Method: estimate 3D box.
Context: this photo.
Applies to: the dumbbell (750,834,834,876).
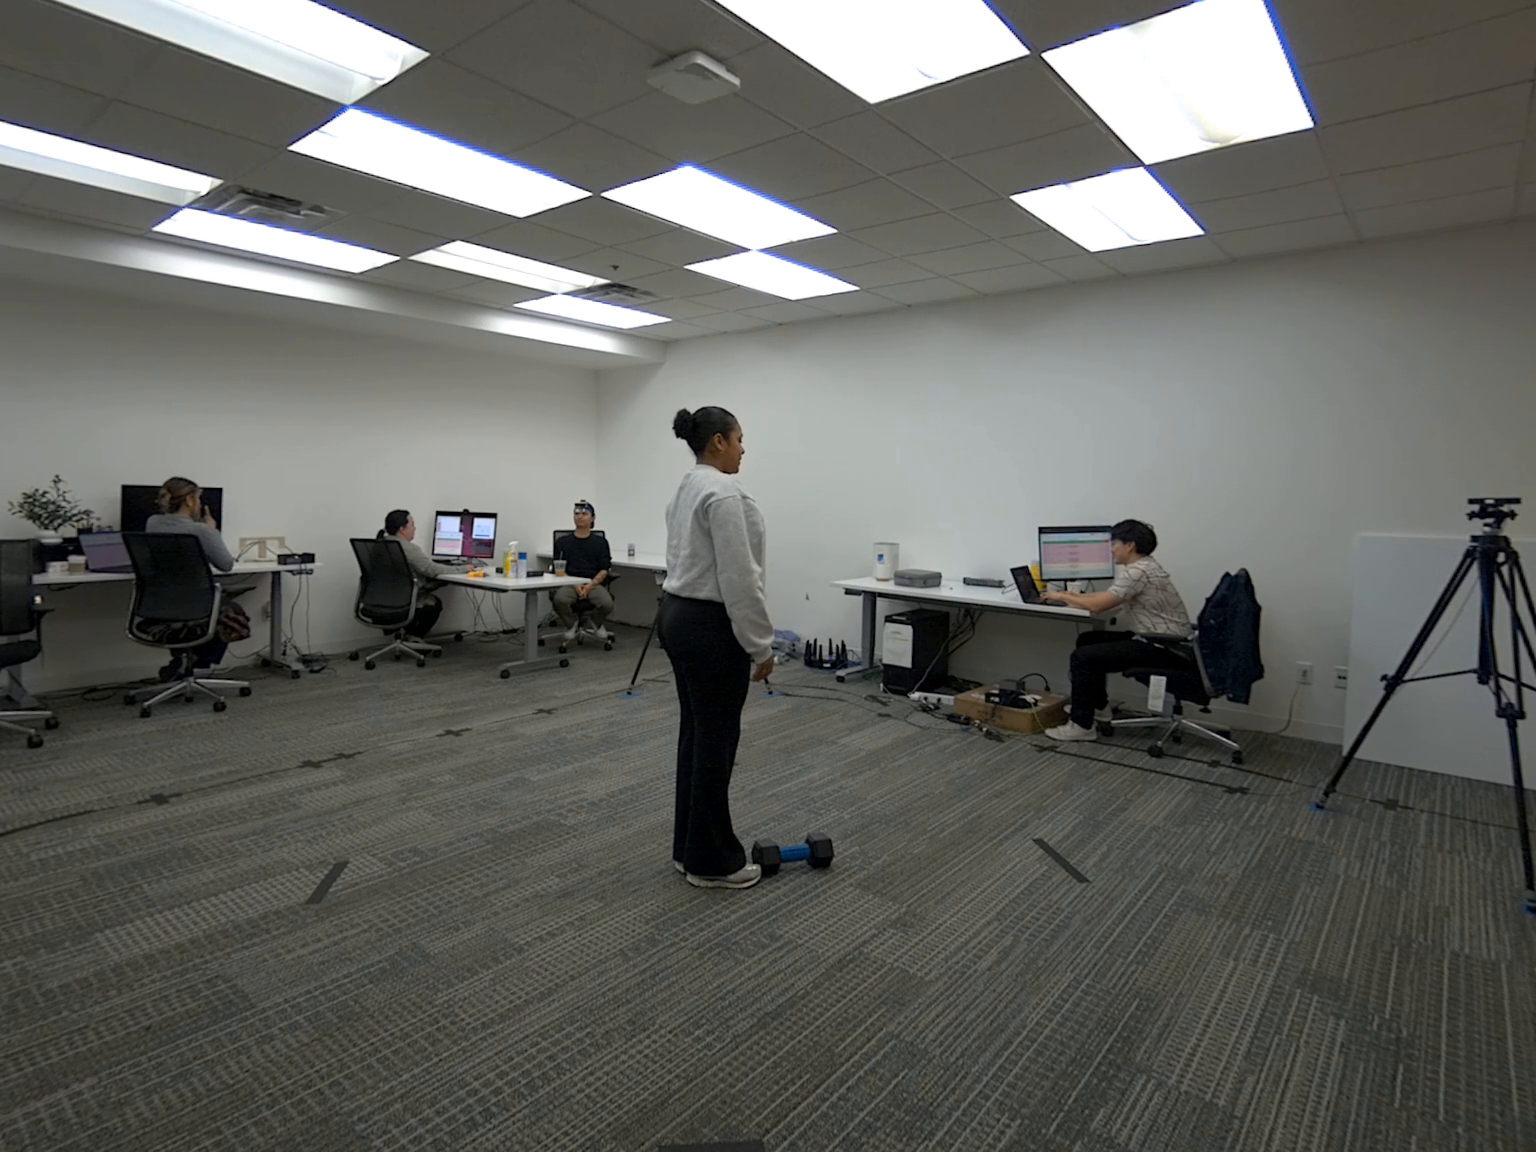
[{"bbox_3d":[0.086,1.025,3.117,0.288,0.126,0.108,-1,-23,-19],"label":"dumbbell"}]
